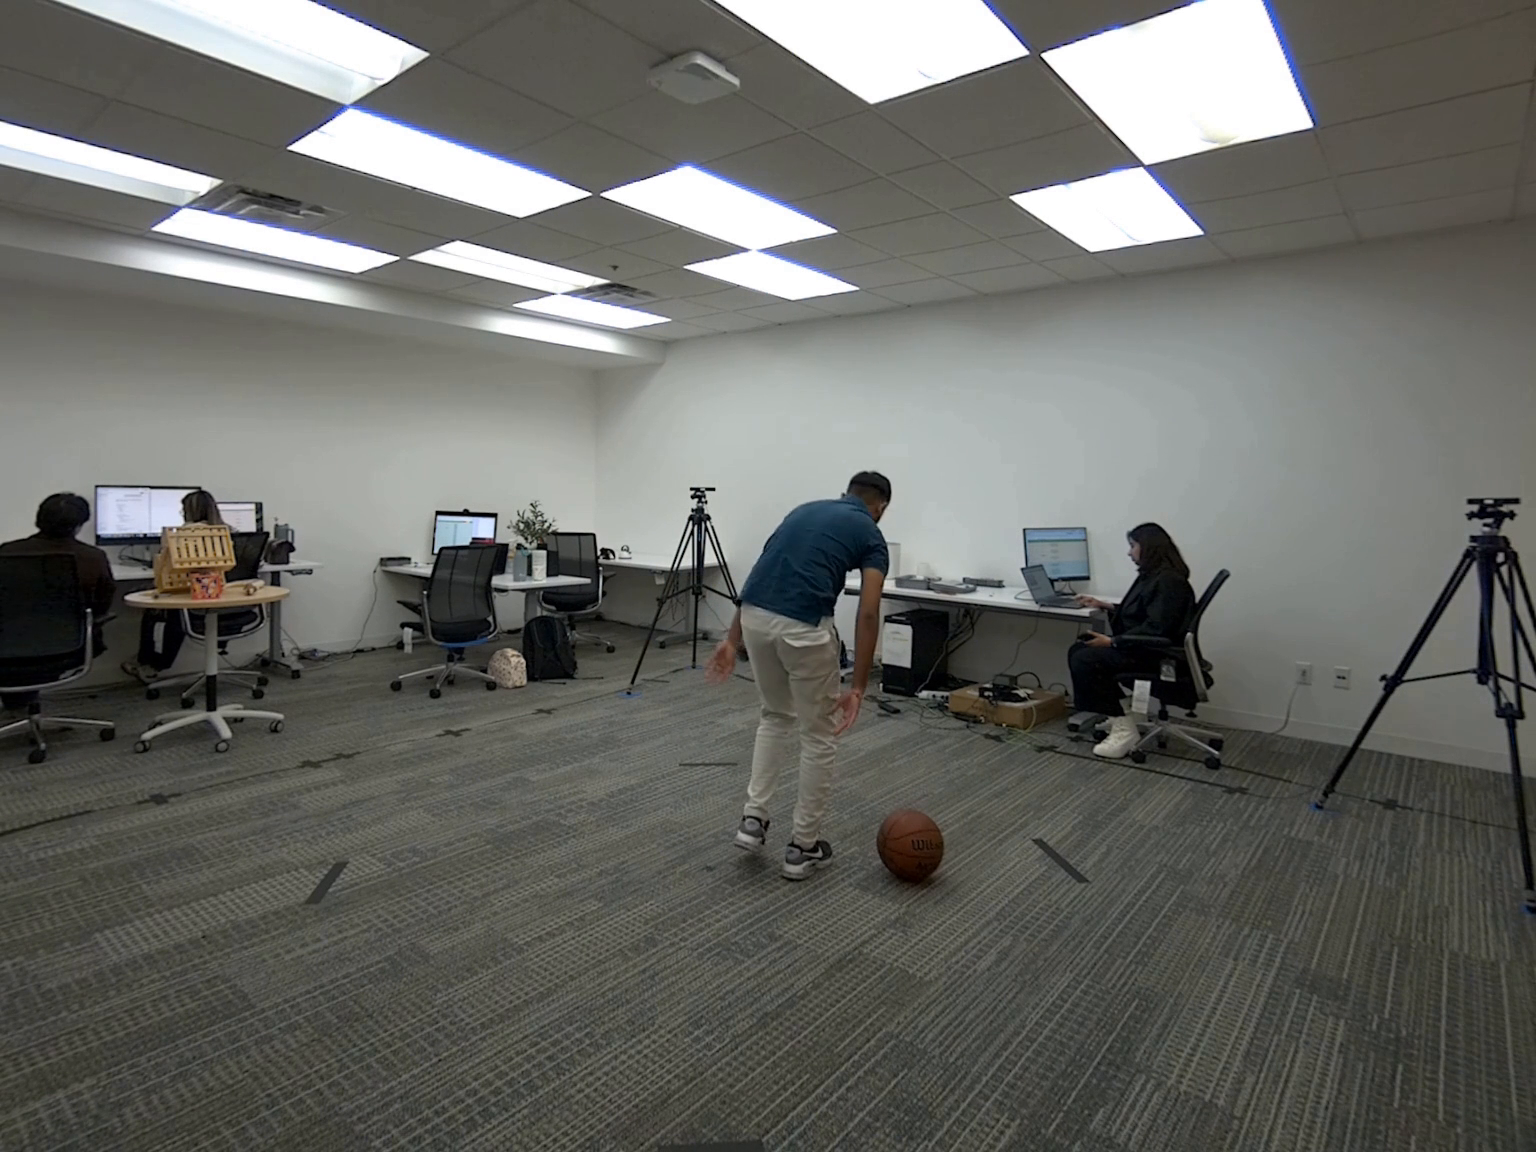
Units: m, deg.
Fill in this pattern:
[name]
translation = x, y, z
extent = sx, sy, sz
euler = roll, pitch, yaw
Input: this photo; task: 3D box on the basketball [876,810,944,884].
[basketball]
translation = 0.506, 0.964, 3.082
extent = 0.235, 0.235, 0.237
euler = 1, 4, -2
